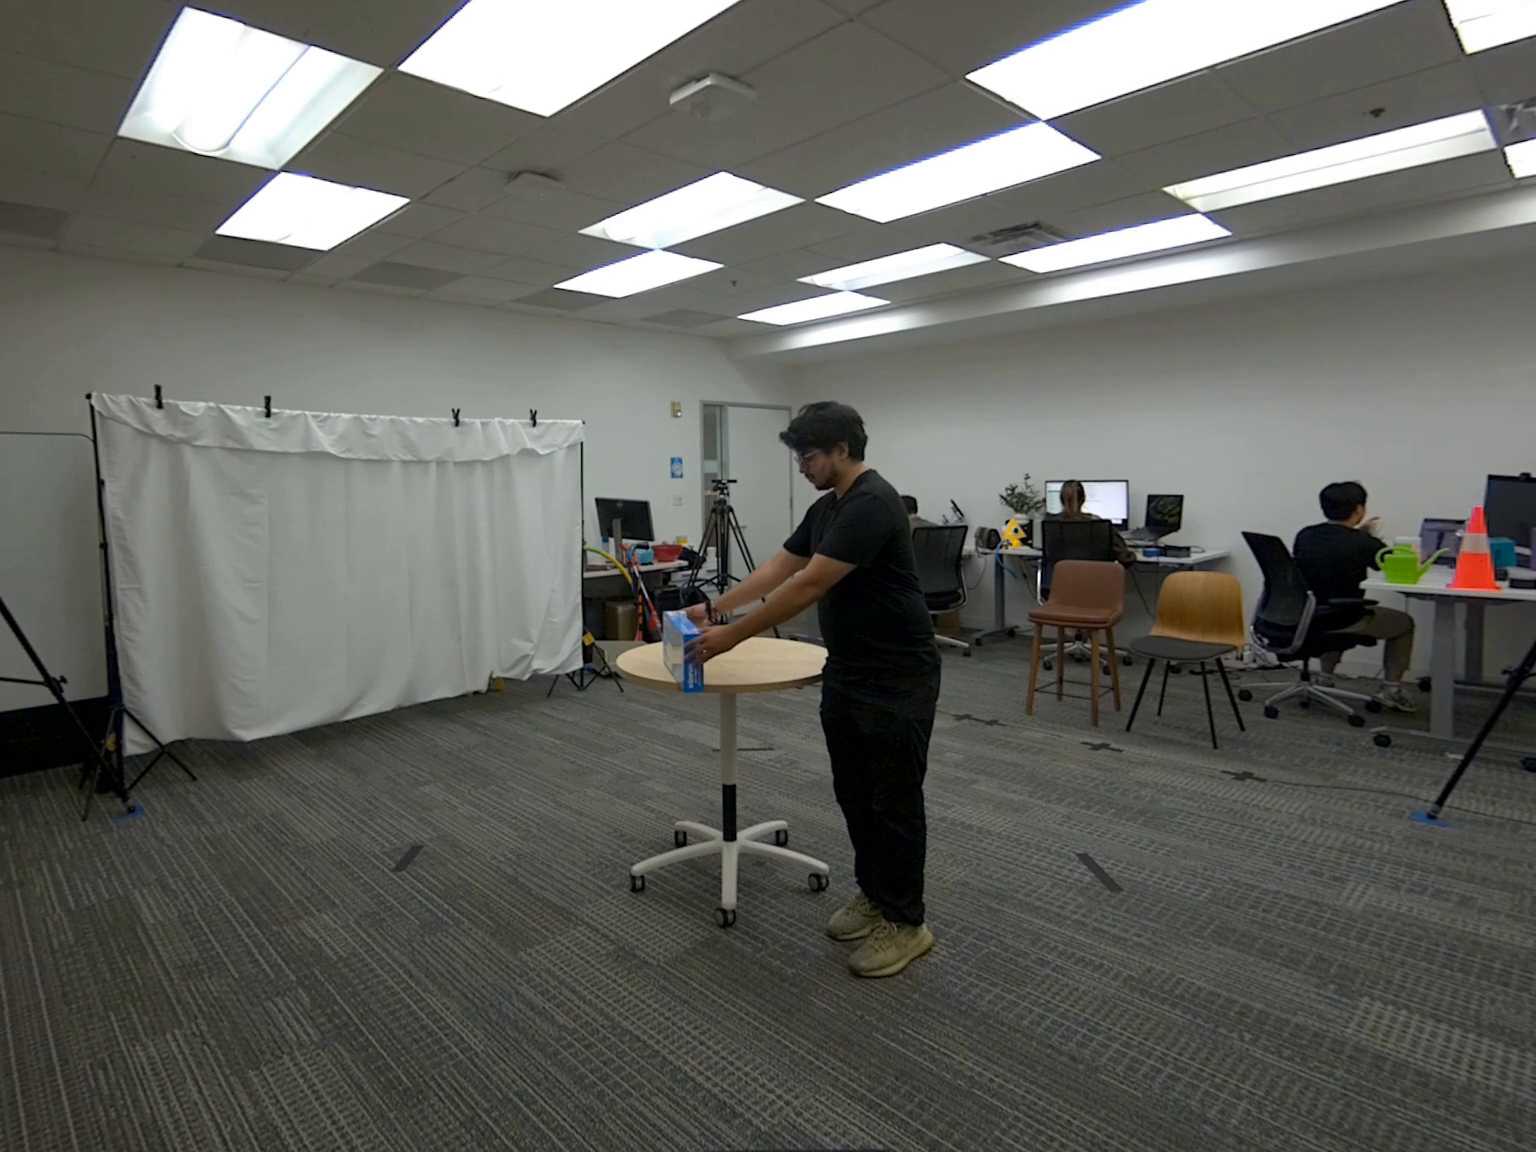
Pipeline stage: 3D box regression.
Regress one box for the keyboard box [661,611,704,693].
[{"bbox_3d":[-0.264,0.230,2.681,0.058,0.175,0.444,0,5,-14],"label":"keyboard box"}]
